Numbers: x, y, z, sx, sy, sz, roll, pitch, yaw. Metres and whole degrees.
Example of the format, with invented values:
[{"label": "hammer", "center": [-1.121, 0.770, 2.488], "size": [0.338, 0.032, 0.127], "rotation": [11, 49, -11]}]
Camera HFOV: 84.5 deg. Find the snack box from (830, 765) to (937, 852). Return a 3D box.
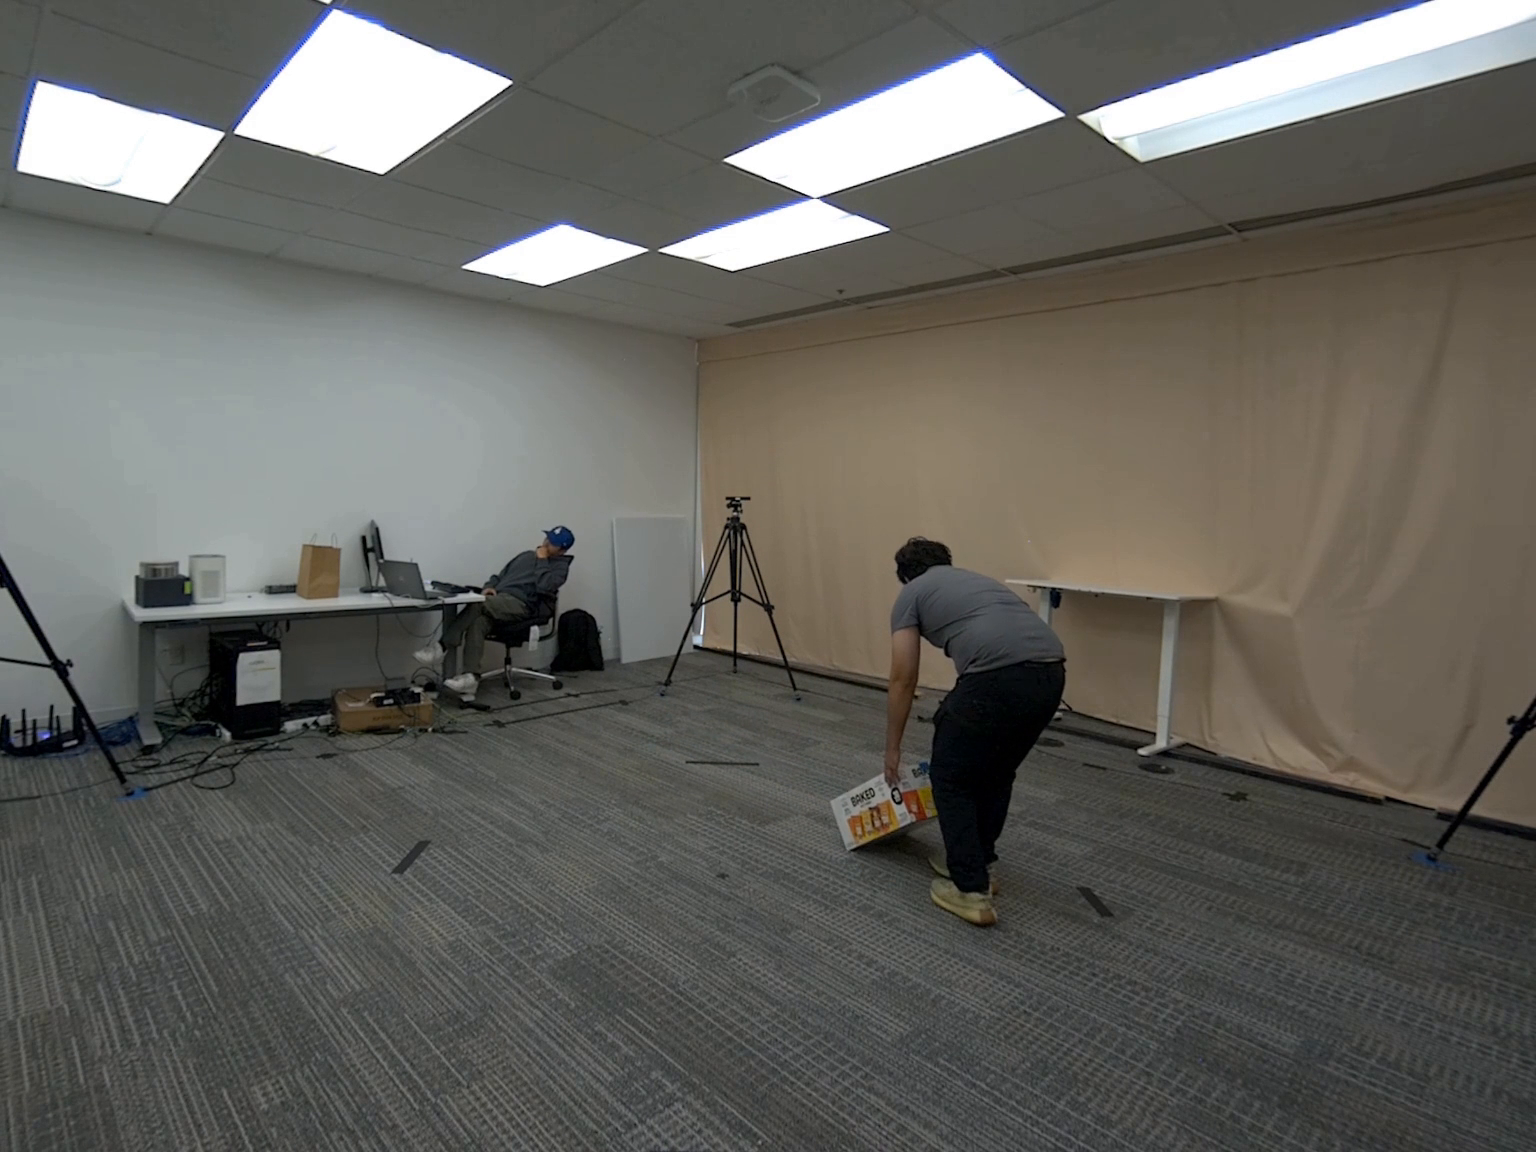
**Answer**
[{"label": "snack box", "center": [0.515, 0.906, 3.348], "size": [0.333, 0.210, 0.405], "rotation": [-1, -30, -35]}]
